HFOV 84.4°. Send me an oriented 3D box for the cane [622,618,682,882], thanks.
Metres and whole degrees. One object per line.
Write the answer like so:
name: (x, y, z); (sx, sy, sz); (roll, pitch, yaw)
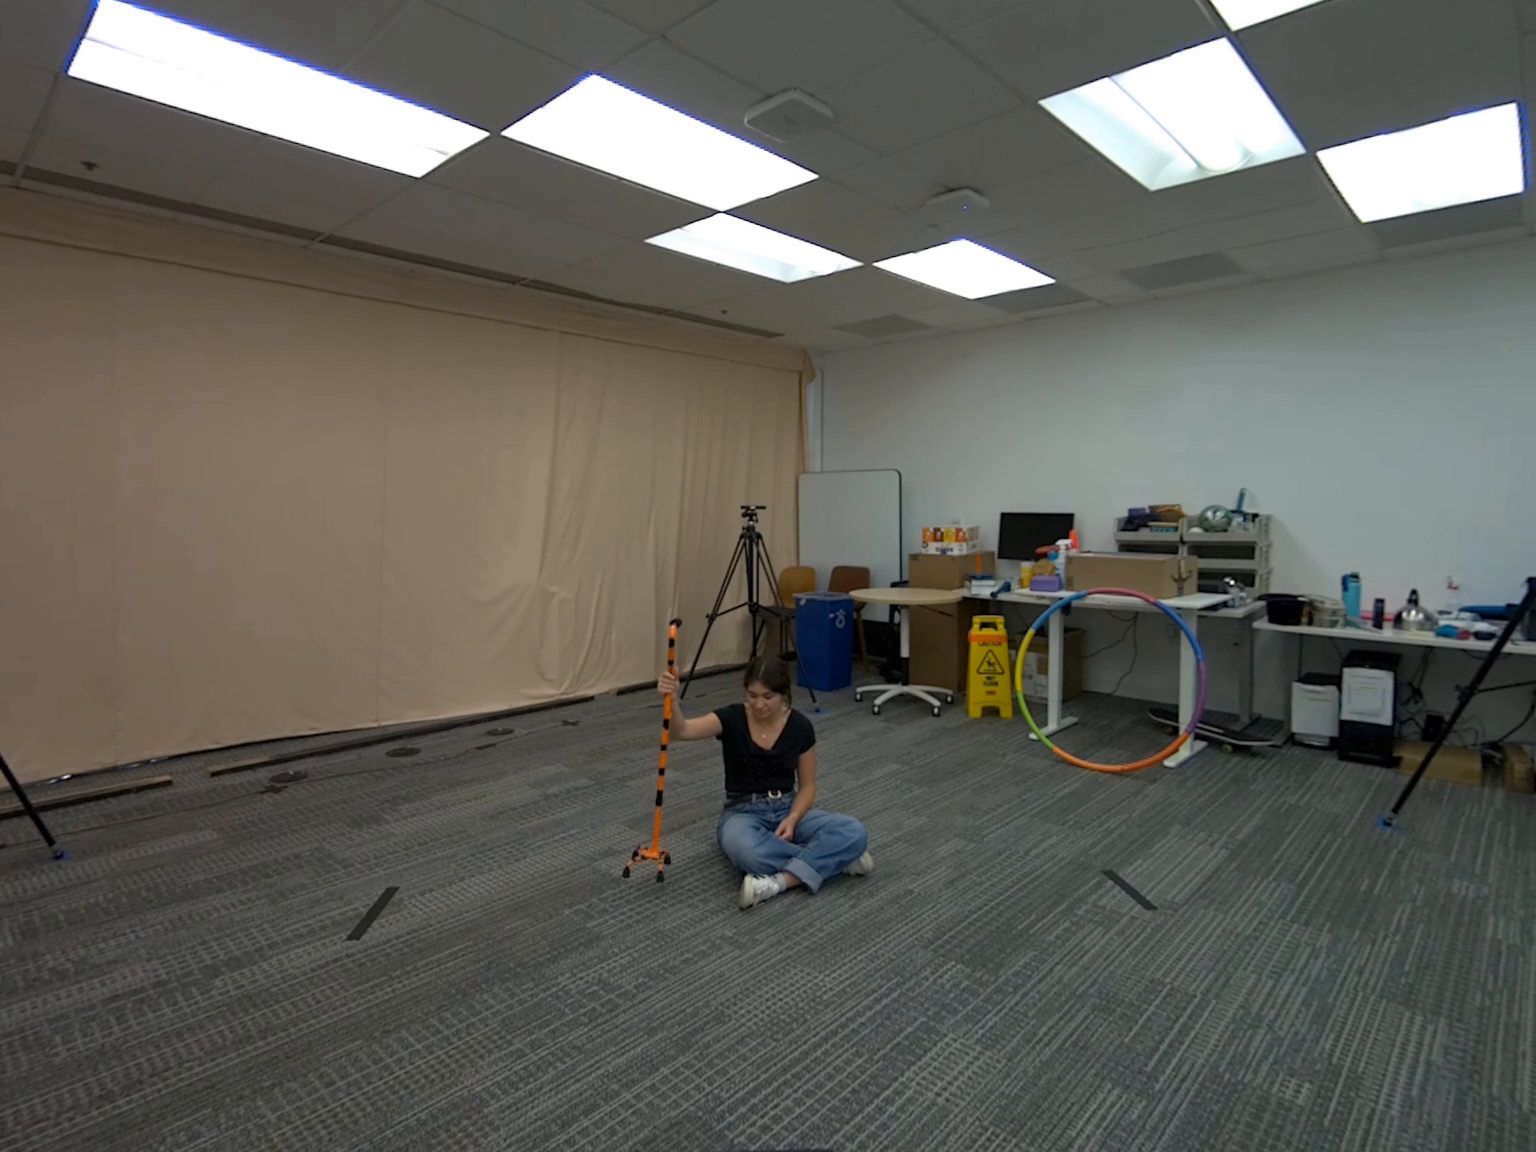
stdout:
cane: (-0.387, 0.623, 3.047); (0.152, 0.908, 0.206); (5, 0, 2)
